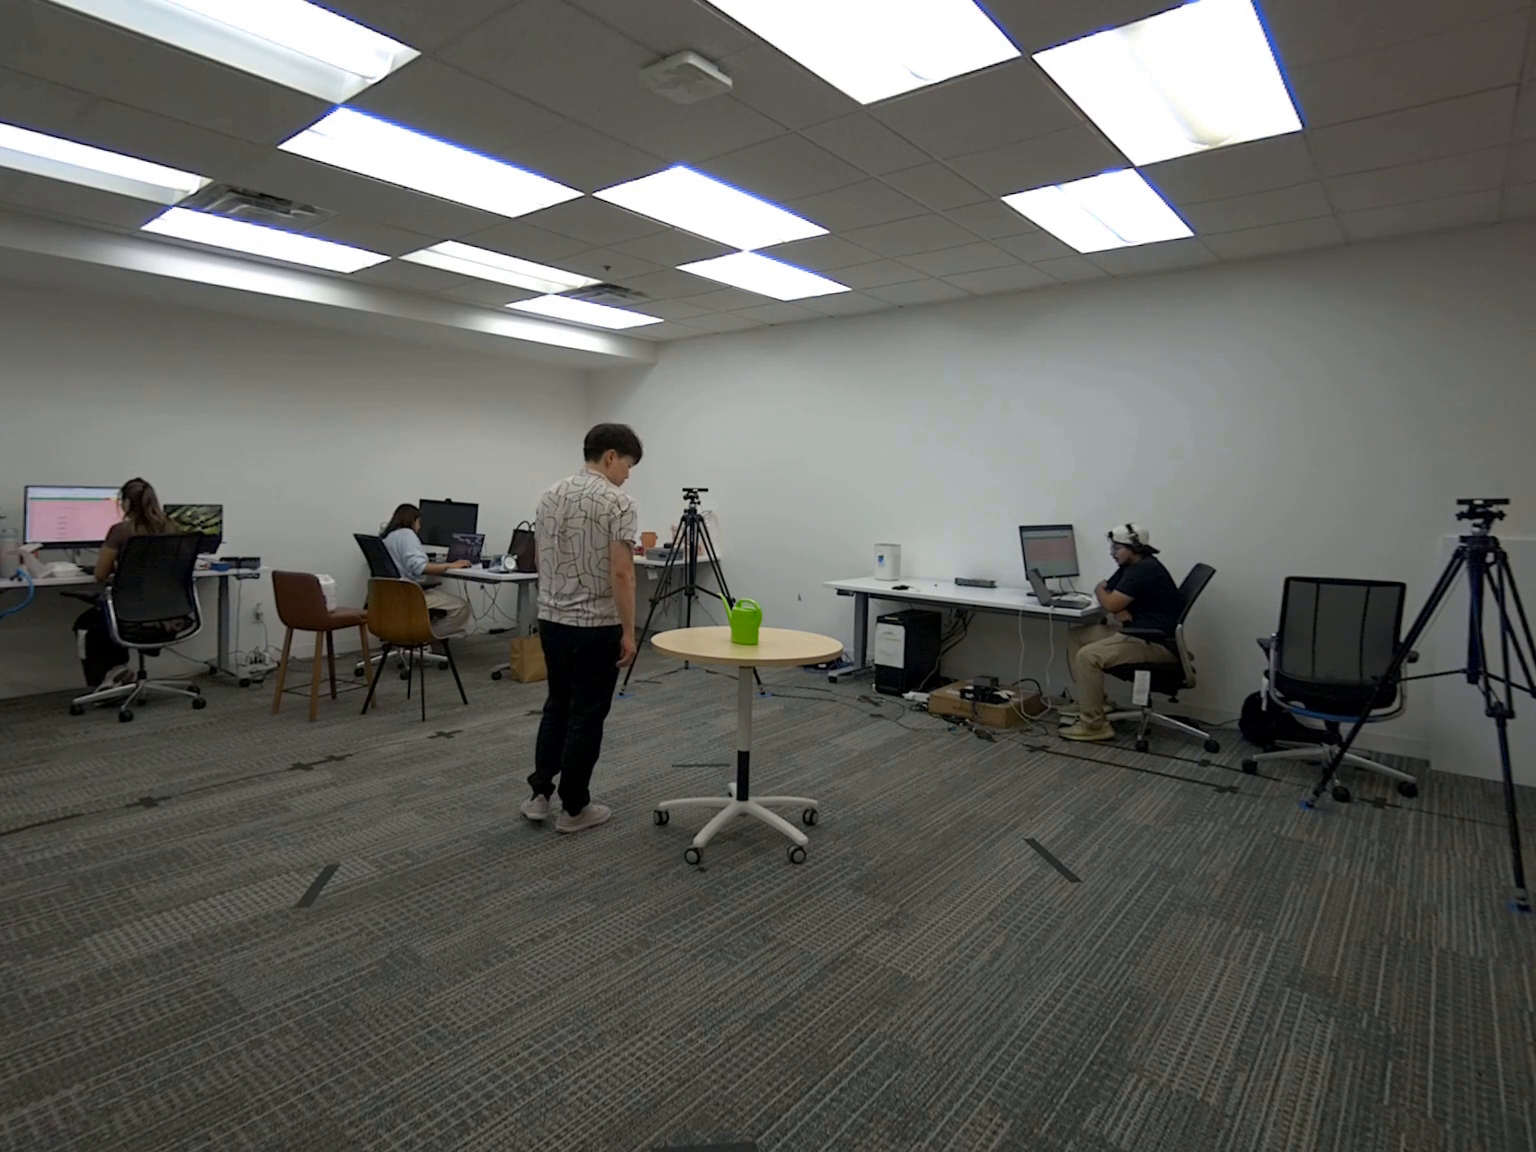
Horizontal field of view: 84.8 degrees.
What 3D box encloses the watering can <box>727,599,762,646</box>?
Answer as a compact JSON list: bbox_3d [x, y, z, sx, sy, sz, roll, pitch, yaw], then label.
[{"bbox_3d":[-0.120,0.169,3.412,0.095,0.176,0.286,1,6,-27],"label":"watering can"}]
